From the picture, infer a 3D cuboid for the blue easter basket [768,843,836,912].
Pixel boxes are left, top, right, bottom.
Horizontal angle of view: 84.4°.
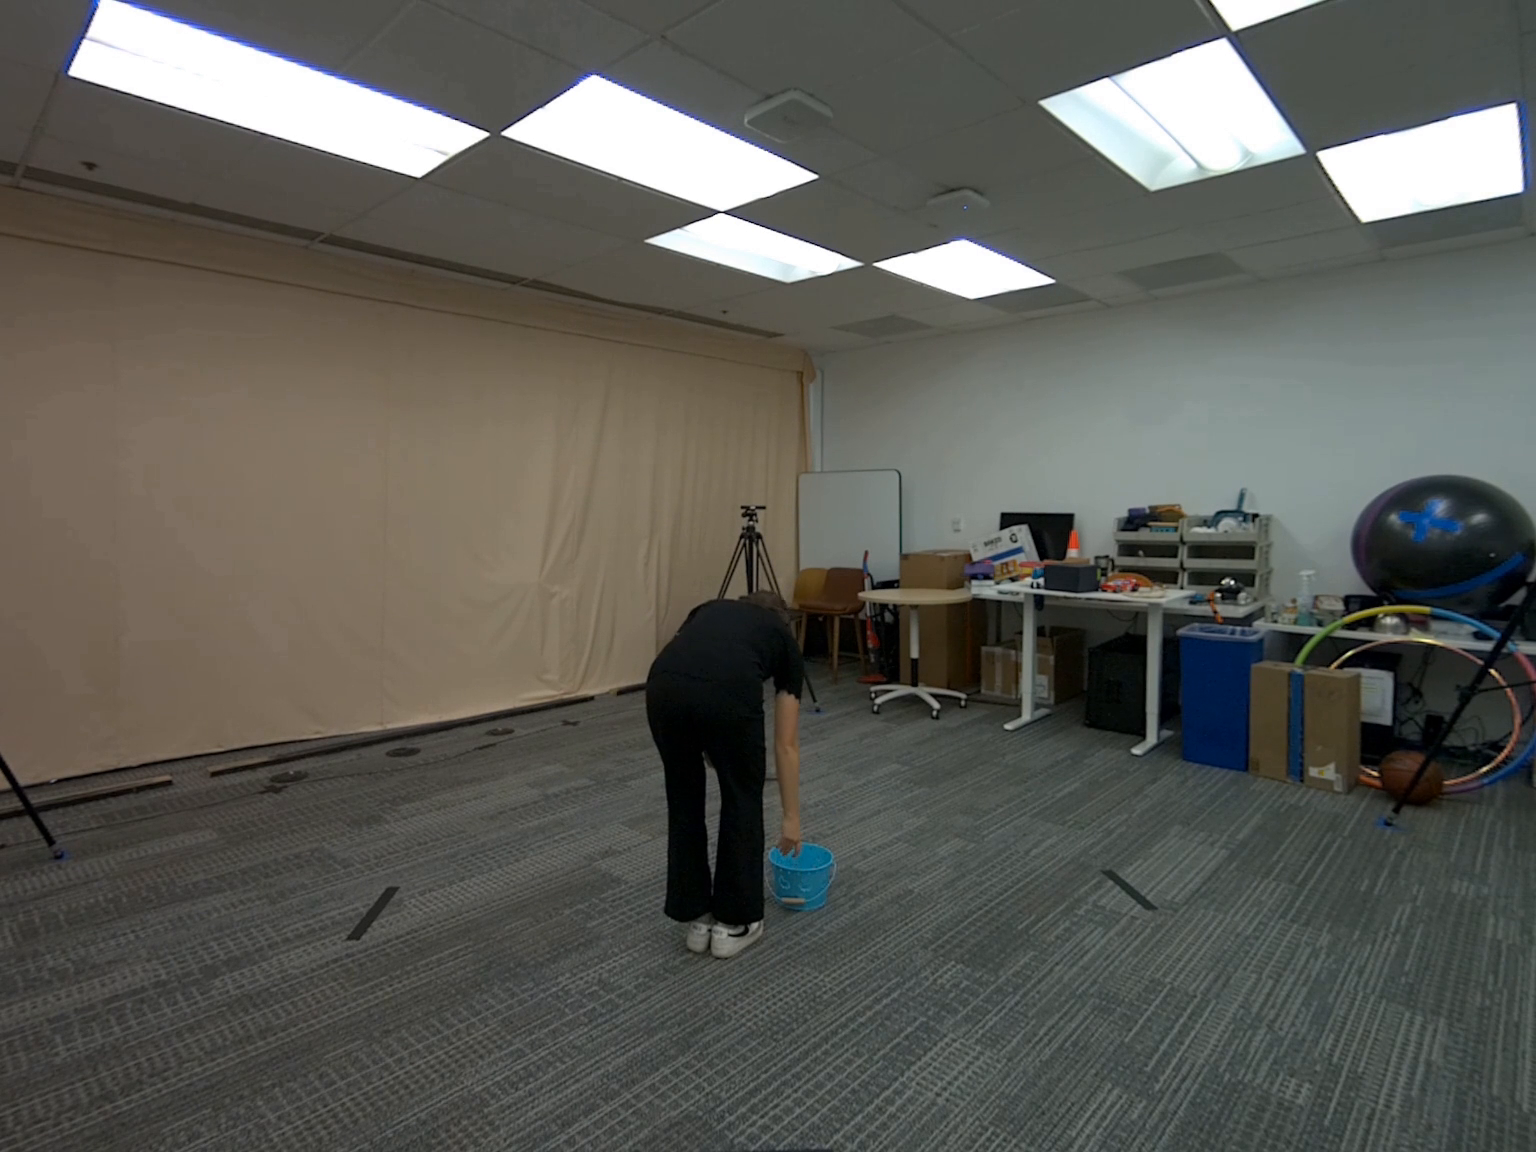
[{"bbox_3d":[0.113,1.064,2.980,0.243,0.155,0.244,1,5,-2],"label":"blue easter basket"}]
